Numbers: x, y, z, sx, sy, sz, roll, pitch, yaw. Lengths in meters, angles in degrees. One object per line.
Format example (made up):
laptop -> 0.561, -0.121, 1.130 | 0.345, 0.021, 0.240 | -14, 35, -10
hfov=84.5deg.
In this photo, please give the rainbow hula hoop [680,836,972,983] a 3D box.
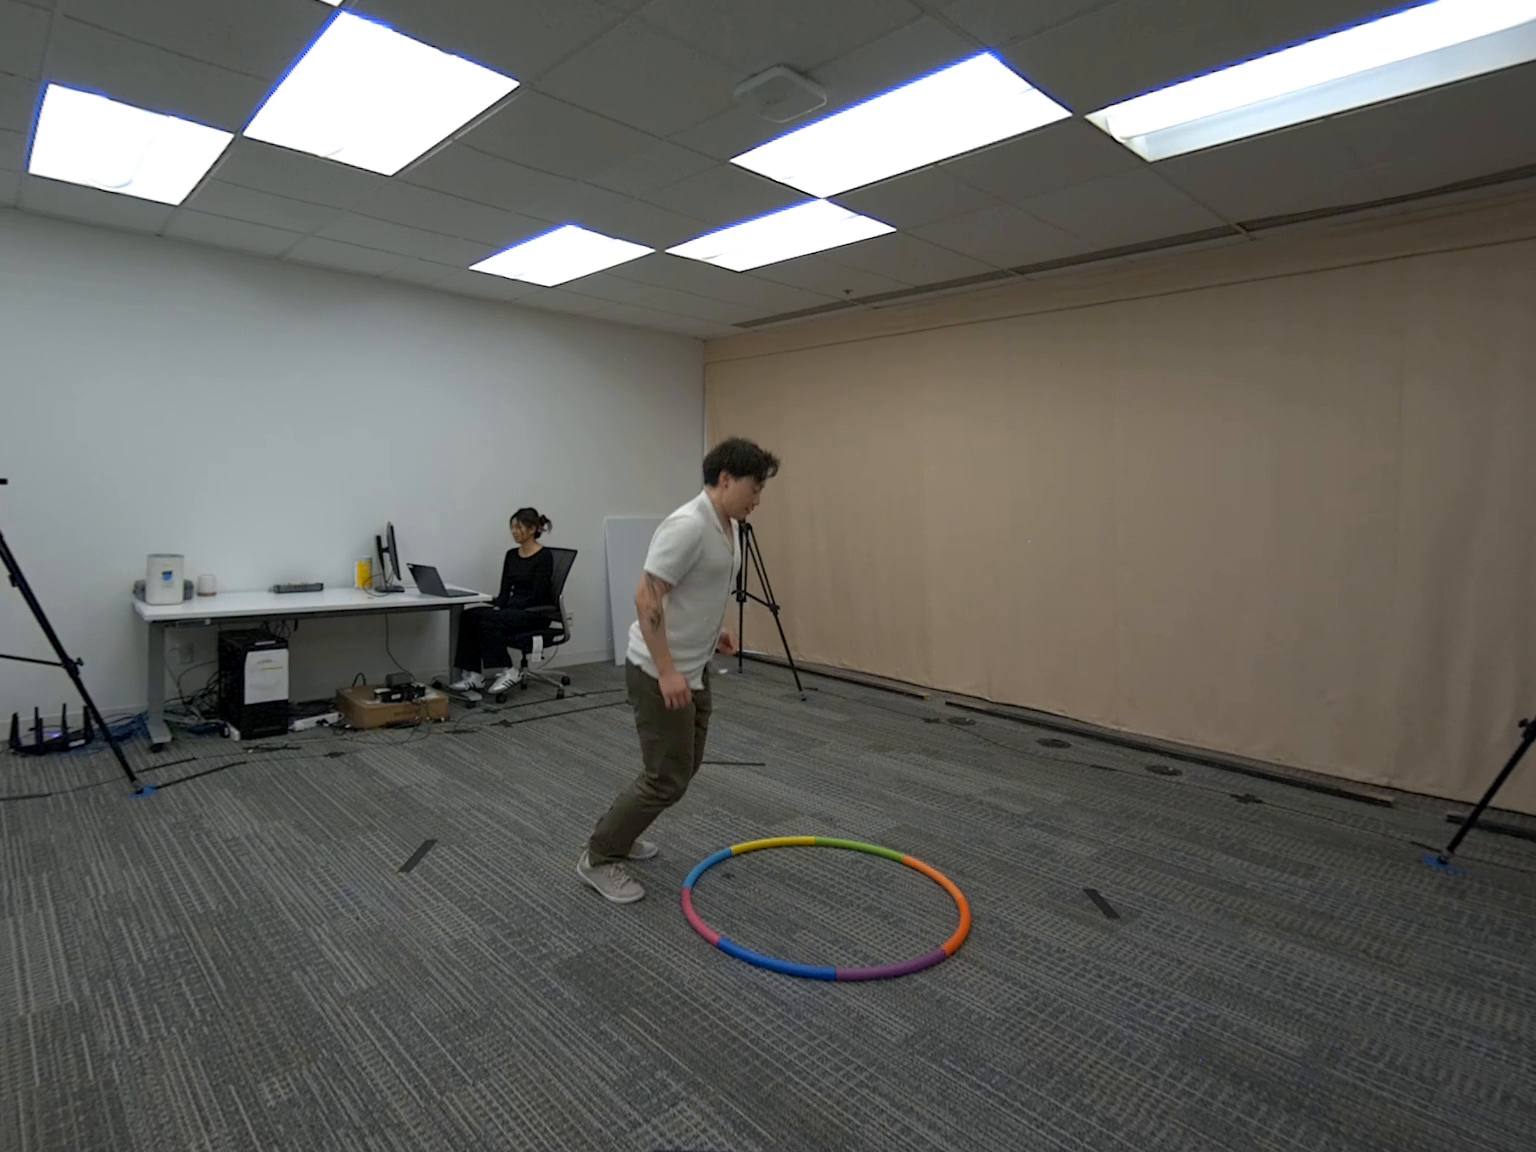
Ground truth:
rainbow hula hoop -> 0.180, 1.102, 2.924 | 0.978, 0.035, 0.982 | 1, 6, -1
